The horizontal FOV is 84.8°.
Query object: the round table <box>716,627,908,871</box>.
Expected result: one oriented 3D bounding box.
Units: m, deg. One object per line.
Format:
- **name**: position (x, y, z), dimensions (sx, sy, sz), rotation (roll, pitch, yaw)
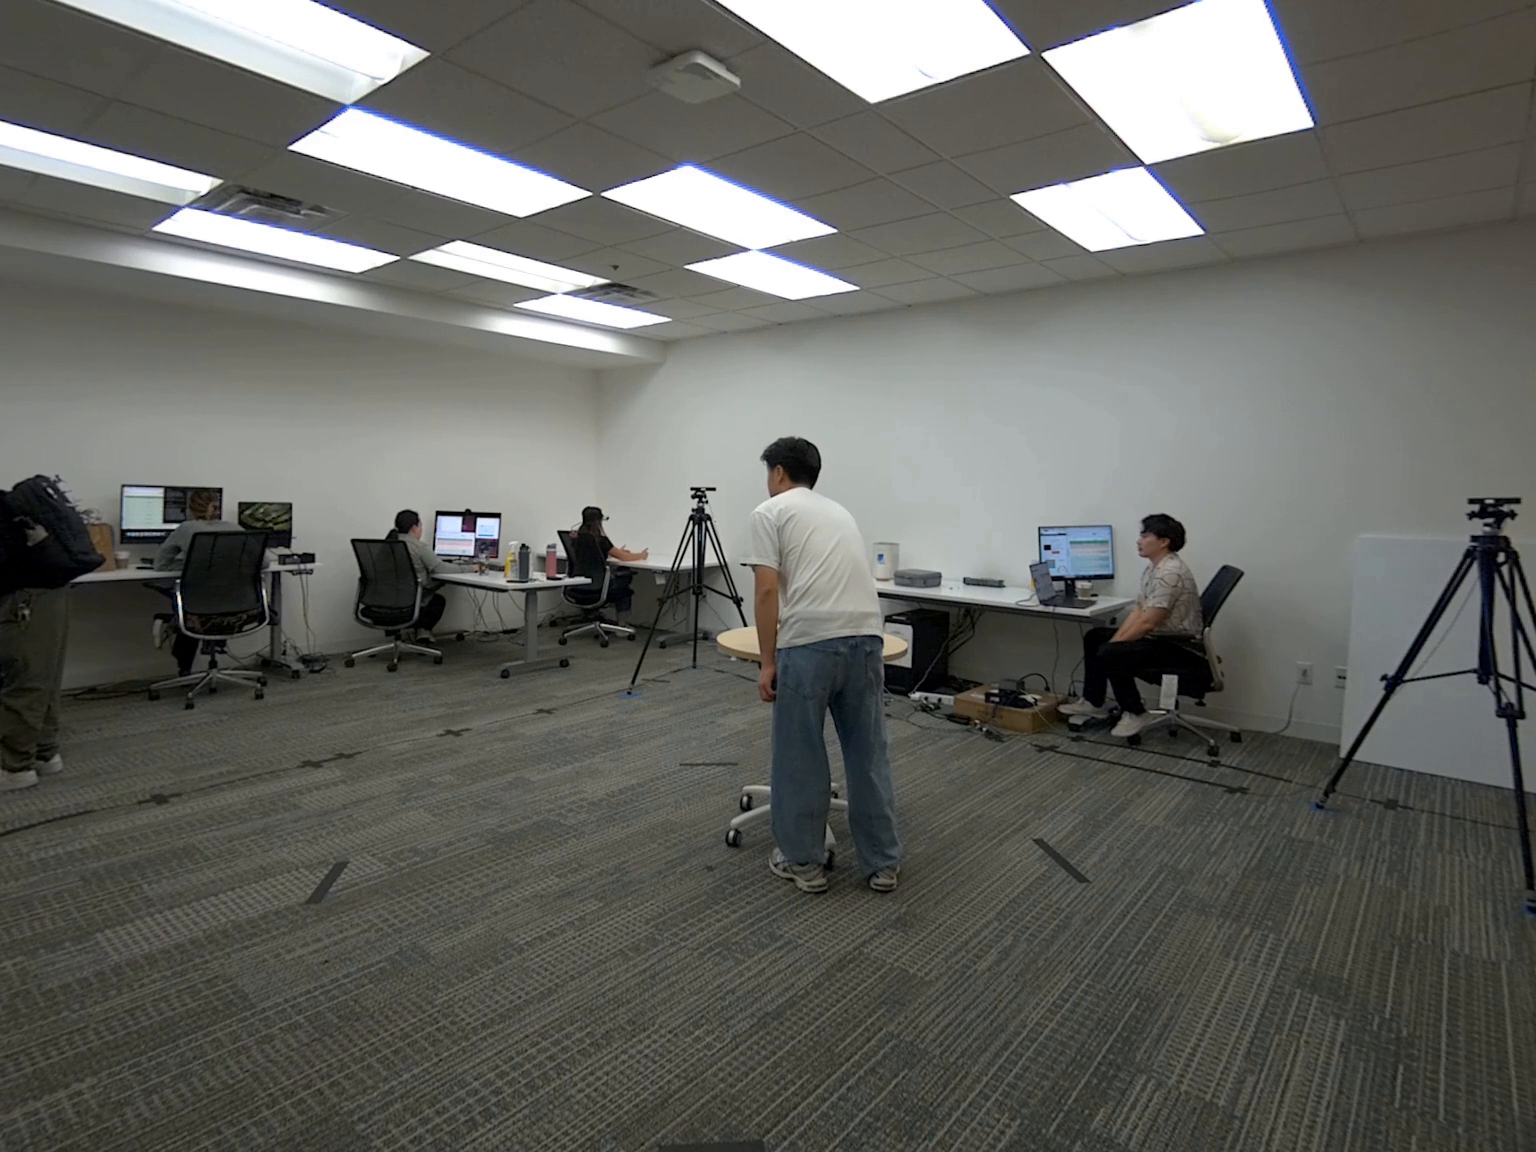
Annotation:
- **round table**: position (0.146, 0.645, 3.465), dimensions (0.763, 0.791, 0.768), rotation (1, 4, -2)
